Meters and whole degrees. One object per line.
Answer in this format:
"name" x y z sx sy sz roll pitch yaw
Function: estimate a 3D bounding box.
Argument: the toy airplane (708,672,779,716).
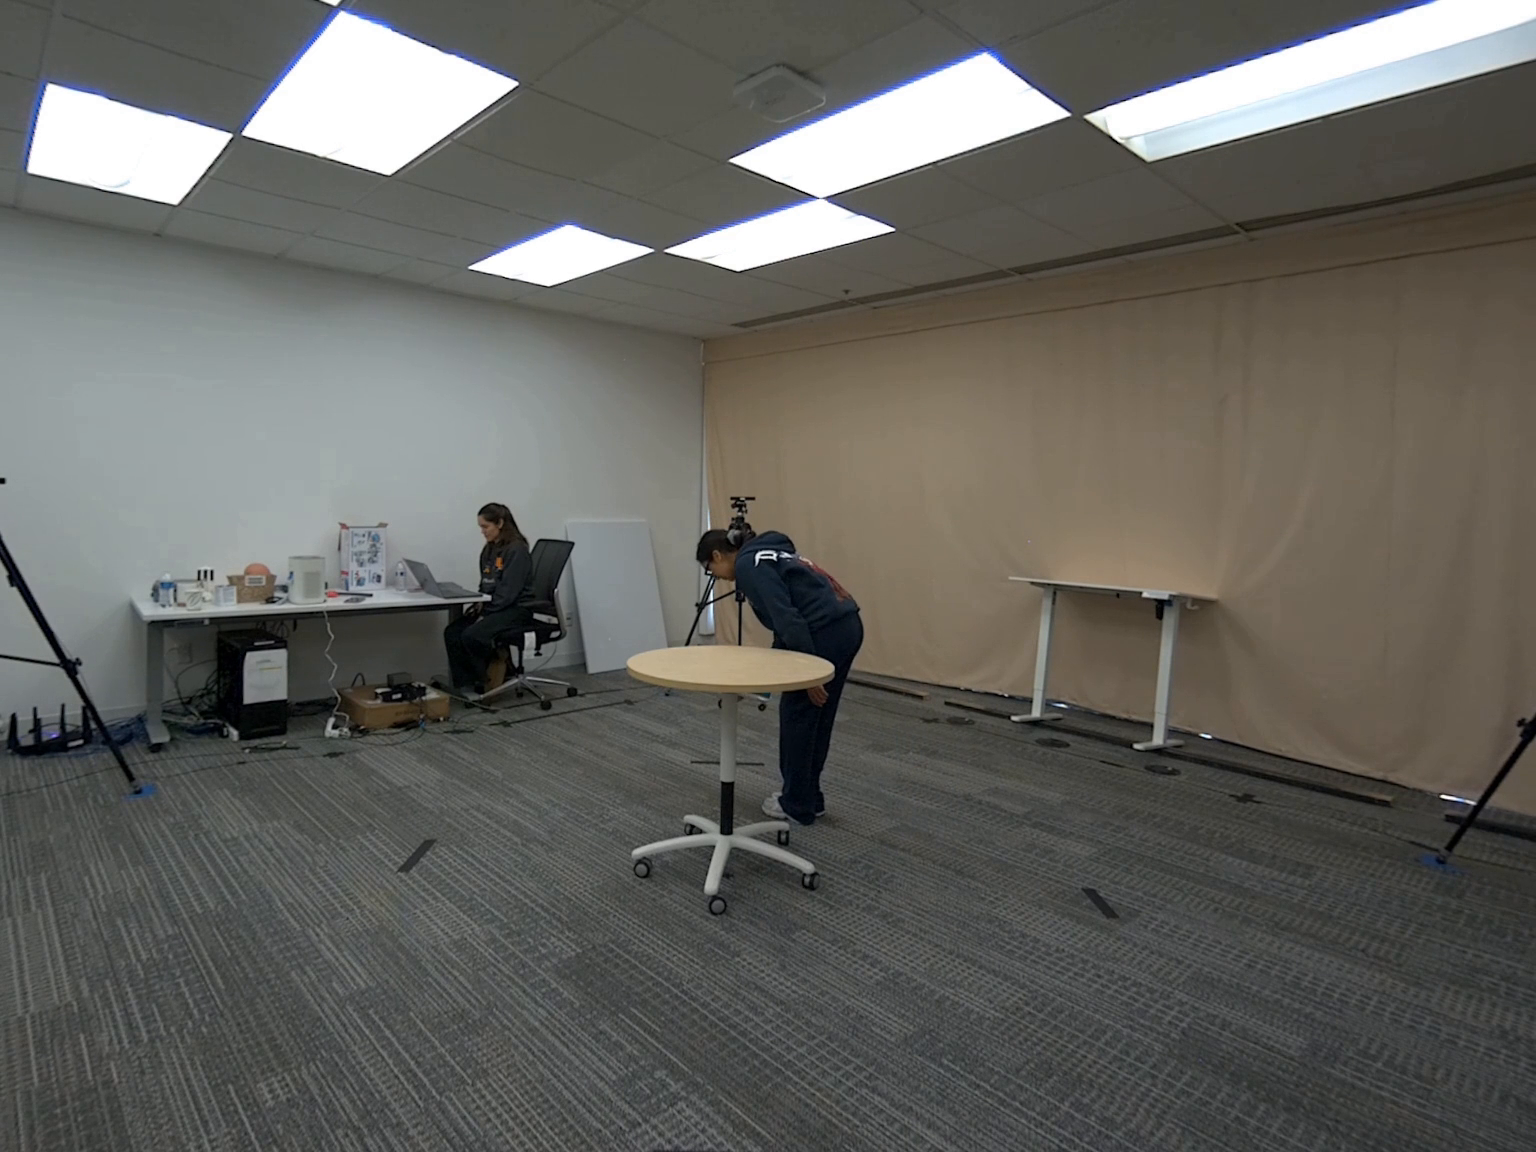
"toy airplane" -0.120 0.547 3.971 0.255 0.156 0.254 2 0 -19
